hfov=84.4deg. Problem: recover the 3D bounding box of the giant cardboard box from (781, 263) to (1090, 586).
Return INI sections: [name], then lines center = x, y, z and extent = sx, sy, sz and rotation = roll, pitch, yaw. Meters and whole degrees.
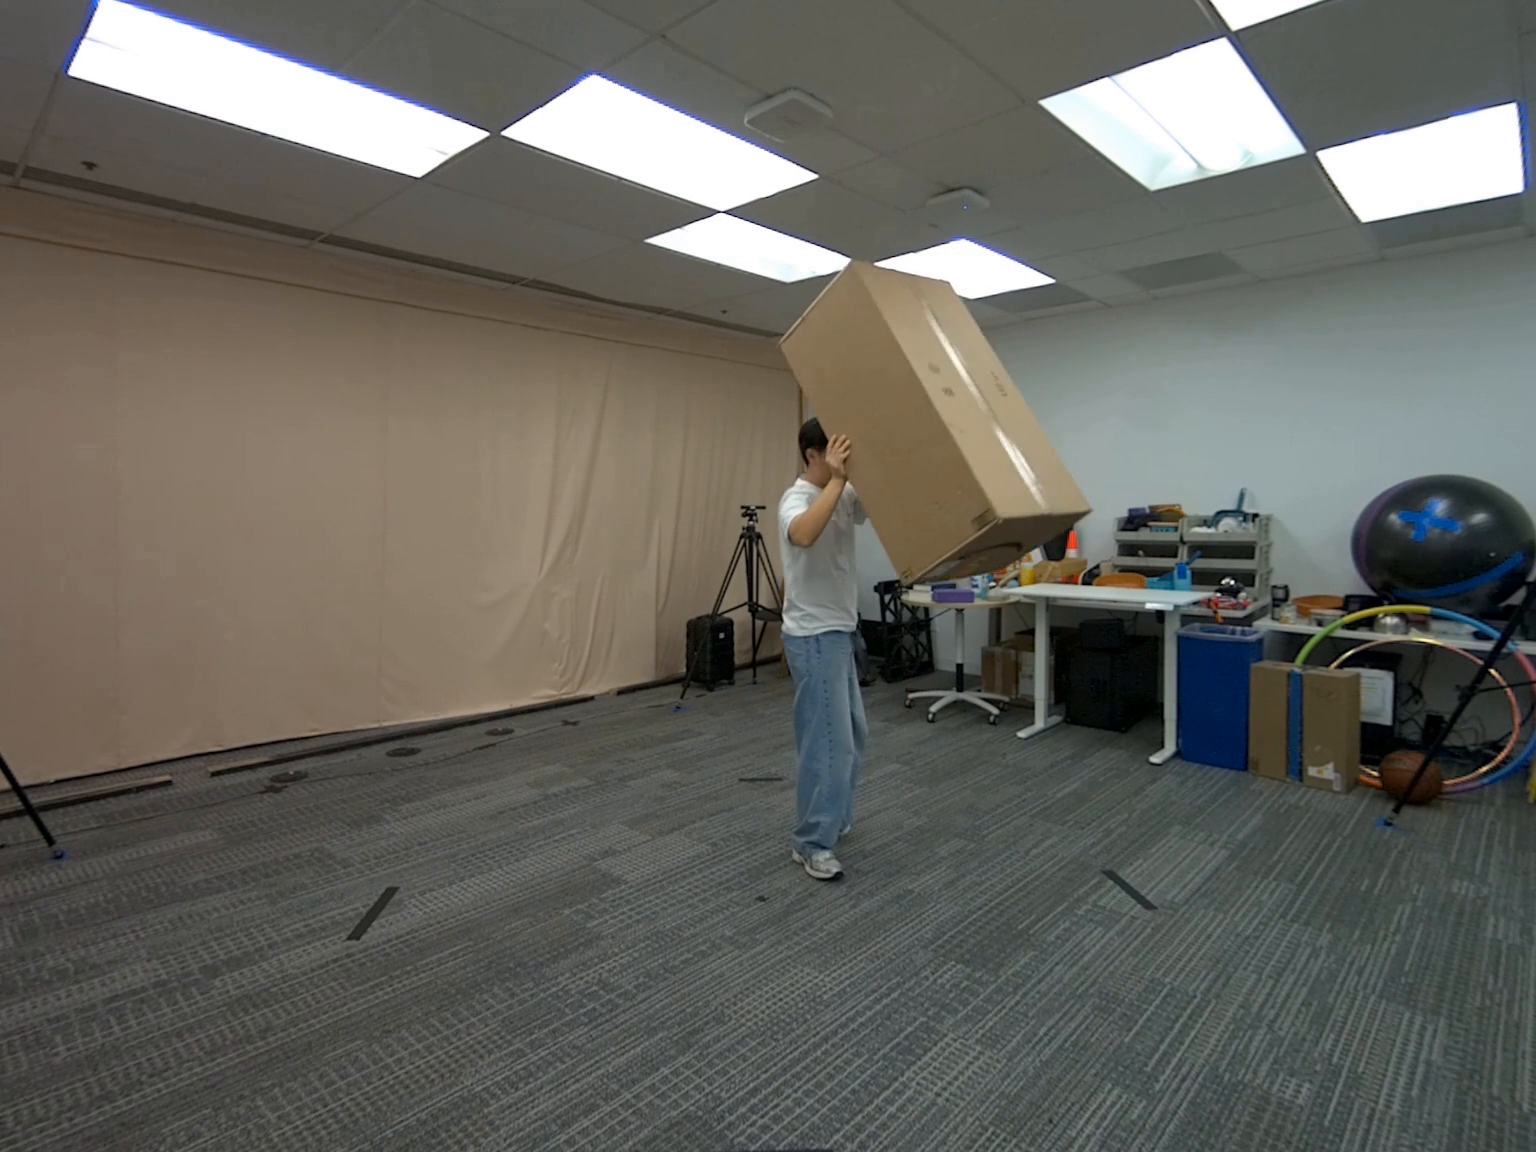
[giant cardboard box]
center = 0.559, -0.520, 2.953
extent = 0.560, 1.045, 0.431
rotation = -6, -26, -42
